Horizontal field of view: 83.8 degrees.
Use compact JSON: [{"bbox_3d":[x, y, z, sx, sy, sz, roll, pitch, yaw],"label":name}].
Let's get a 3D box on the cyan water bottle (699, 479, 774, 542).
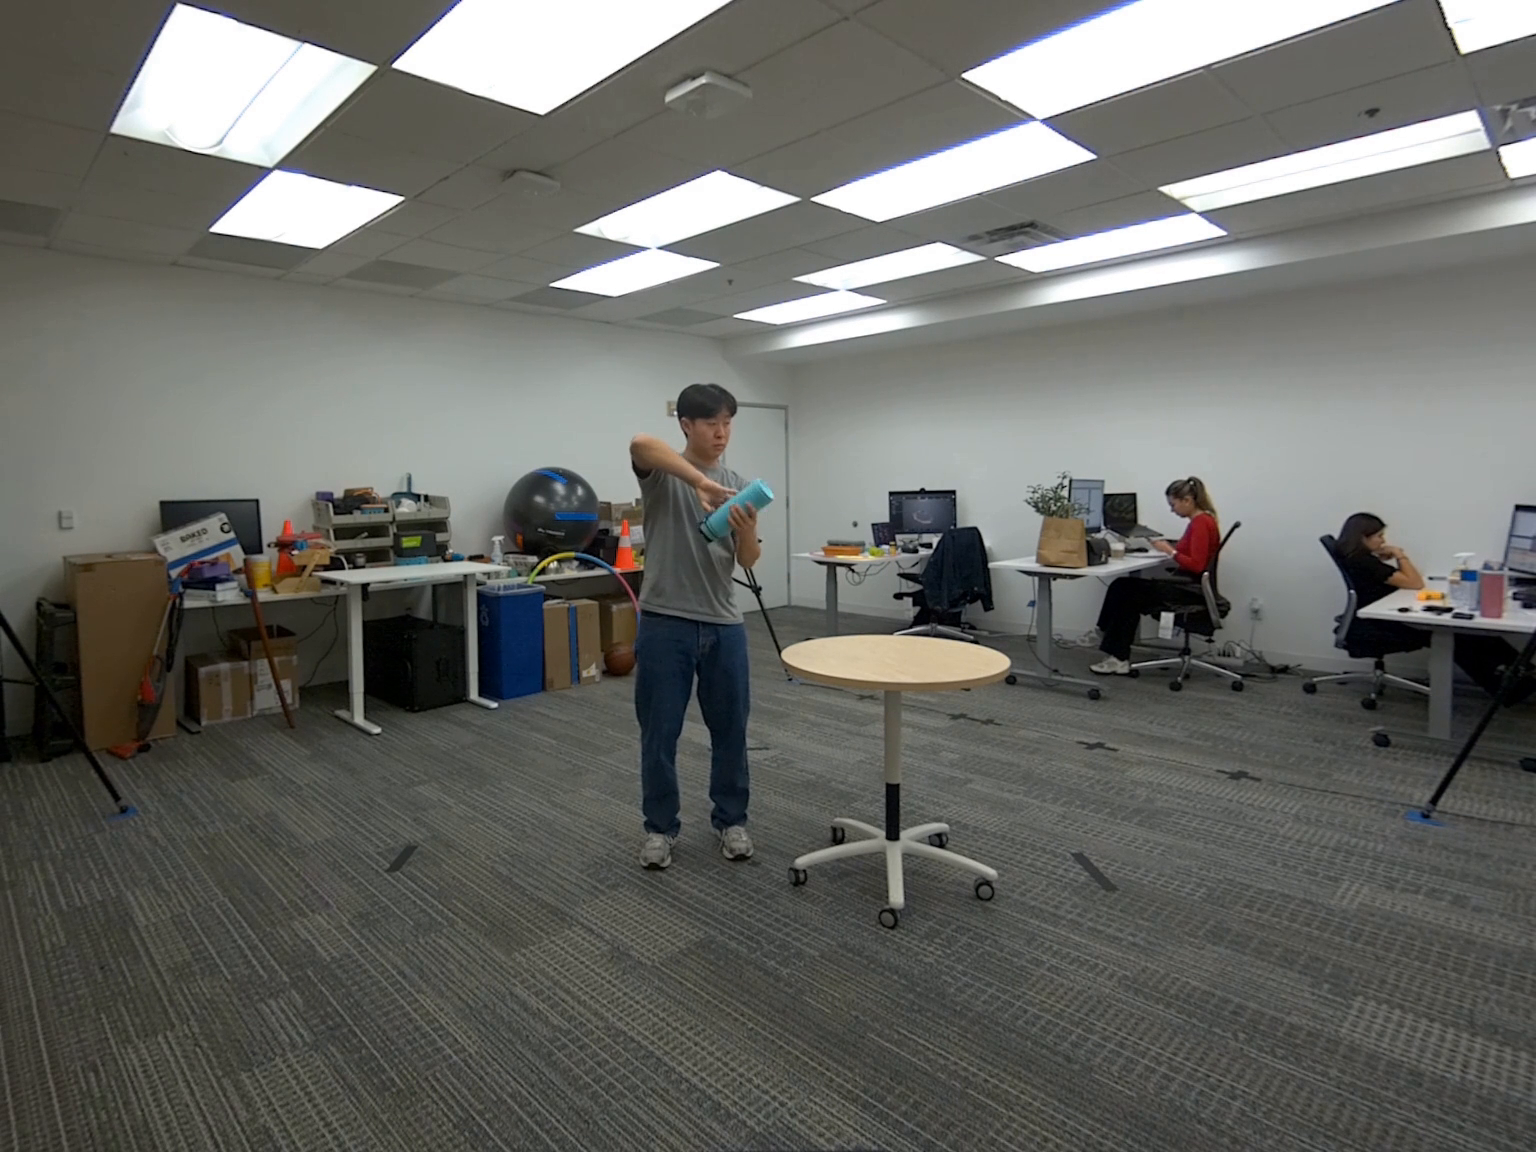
[{"bbox_3d":[-0.094,-0.205,2.864,0.284,0.093,0.091,-36,-5,16],"label":"cyan water bottle"}]
